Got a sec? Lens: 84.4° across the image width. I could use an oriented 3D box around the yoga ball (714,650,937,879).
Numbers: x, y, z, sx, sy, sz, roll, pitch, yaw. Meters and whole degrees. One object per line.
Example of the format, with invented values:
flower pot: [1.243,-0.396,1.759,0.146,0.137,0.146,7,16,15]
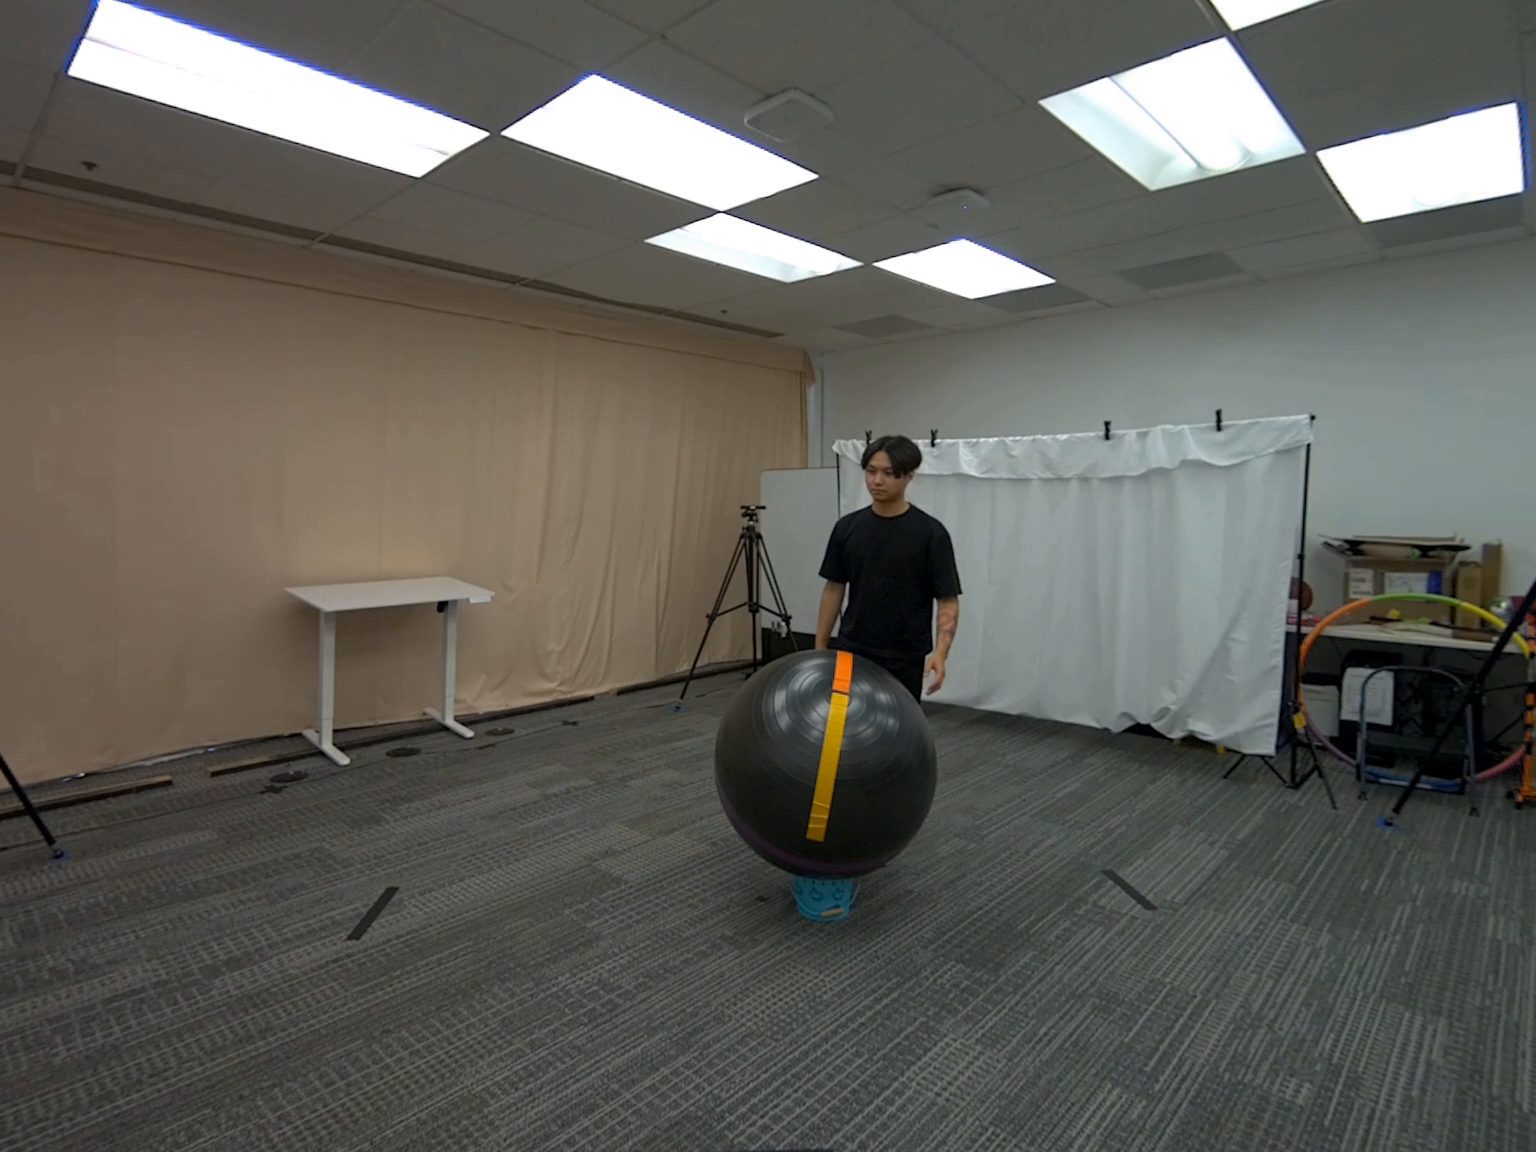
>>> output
yoga ball: [0.197,0.640,2.888,0.757,0.756,0.760,0,4,-2]
